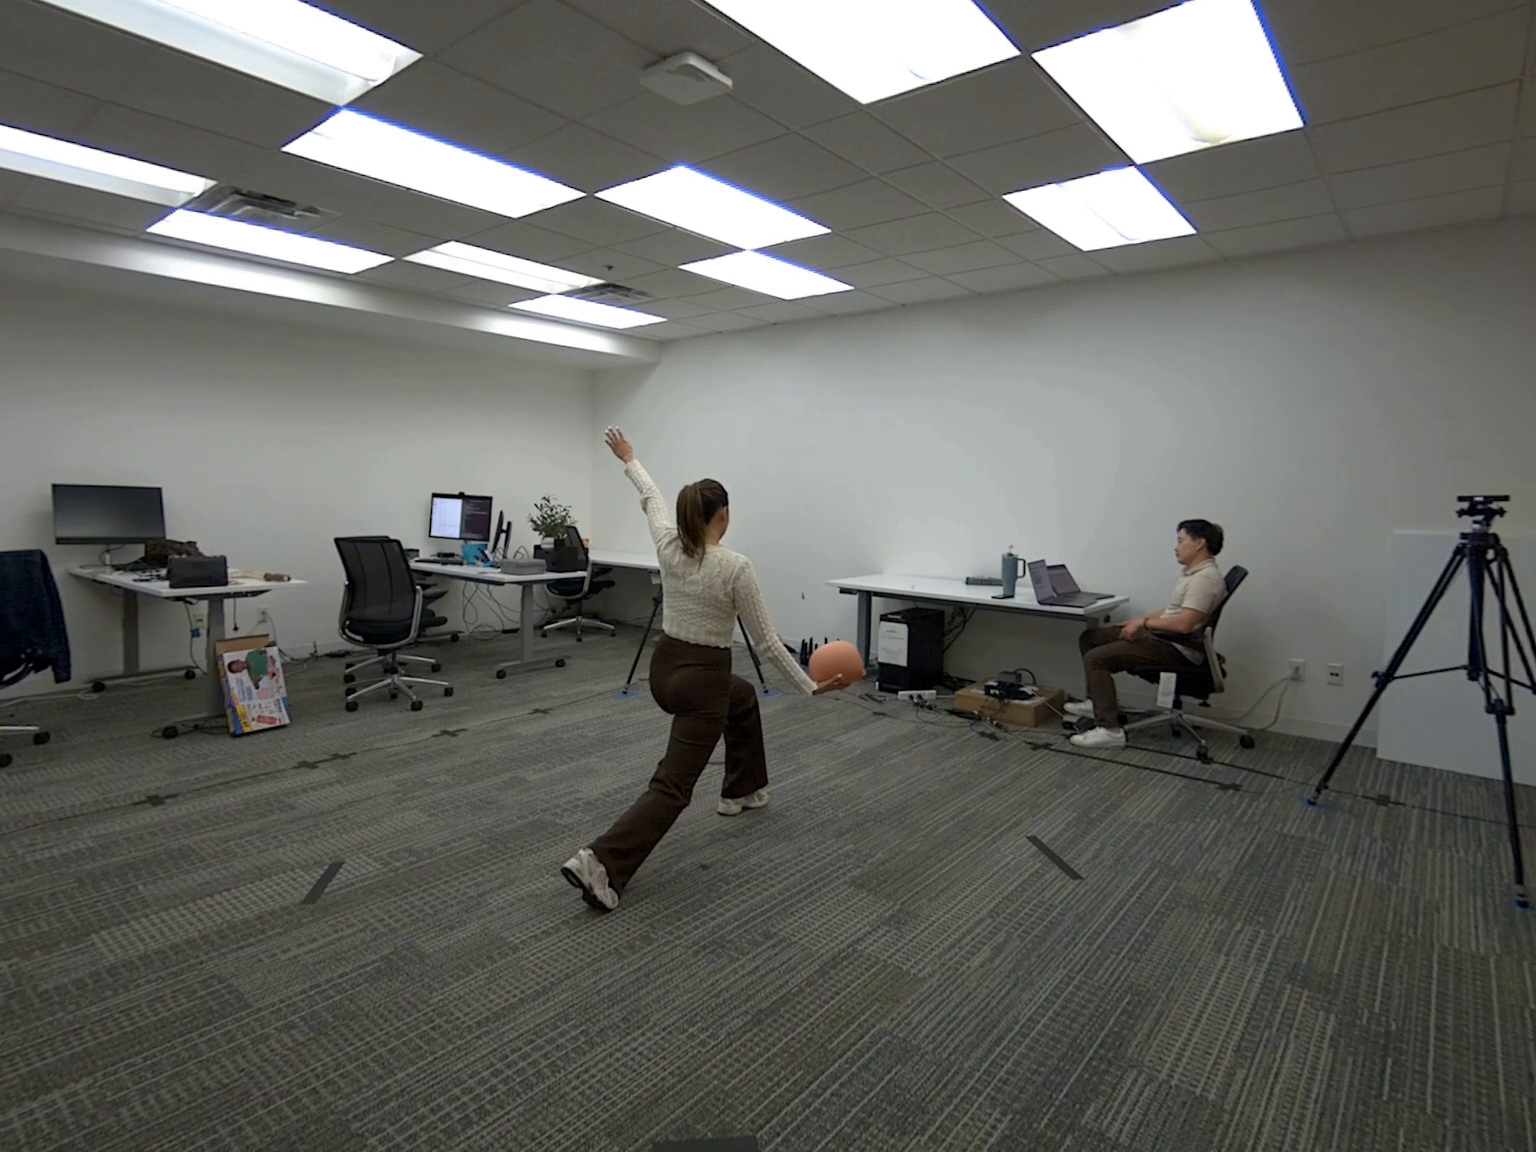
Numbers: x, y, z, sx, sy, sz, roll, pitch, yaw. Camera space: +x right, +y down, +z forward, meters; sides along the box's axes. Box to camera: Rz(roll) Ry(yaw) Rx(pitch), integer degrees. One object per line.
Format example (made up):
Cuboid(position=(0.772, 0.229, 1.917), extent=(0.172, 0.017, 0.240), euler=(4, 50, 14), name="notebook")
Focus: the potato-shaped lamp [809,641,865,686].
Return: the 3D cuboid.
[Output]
Cuboid(position=(0.253, 0.348, 3.296), extent=(0.196, 0.173, 0.165), euler=(-18, -6, -14), name="potato-shaped lamp")
